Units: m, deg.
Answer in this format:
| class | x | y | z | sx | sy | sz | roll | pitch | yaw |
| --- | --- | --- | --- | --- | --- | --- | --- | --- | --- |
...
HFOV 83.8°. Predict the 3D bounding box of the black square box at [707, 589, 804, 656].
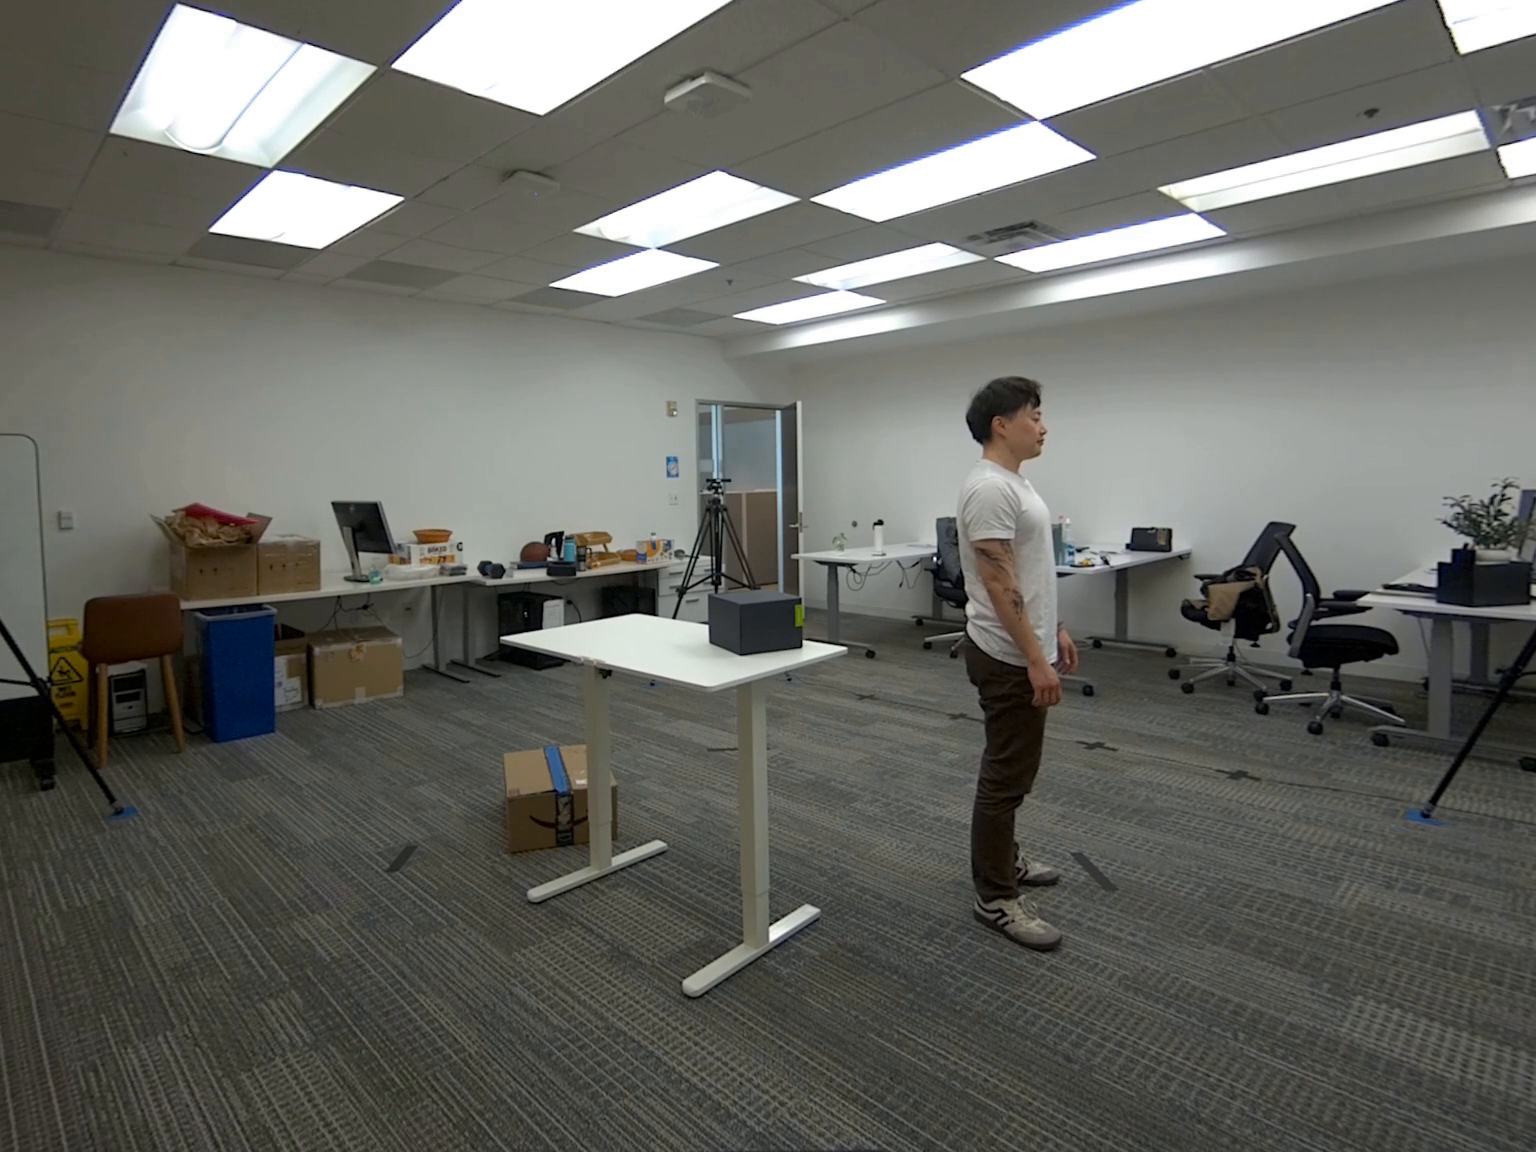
| class | x | y | z | sx | sy | sz | roll | pitch | yaw |
| --- | --- | --- | --- | --- | --- | --- | --- | --- | --- |
| black square box | -0.041 | 0.137 | 2.640 | 0.212 | 0.155 | 0.234 | -4 | 7 | -27 |
